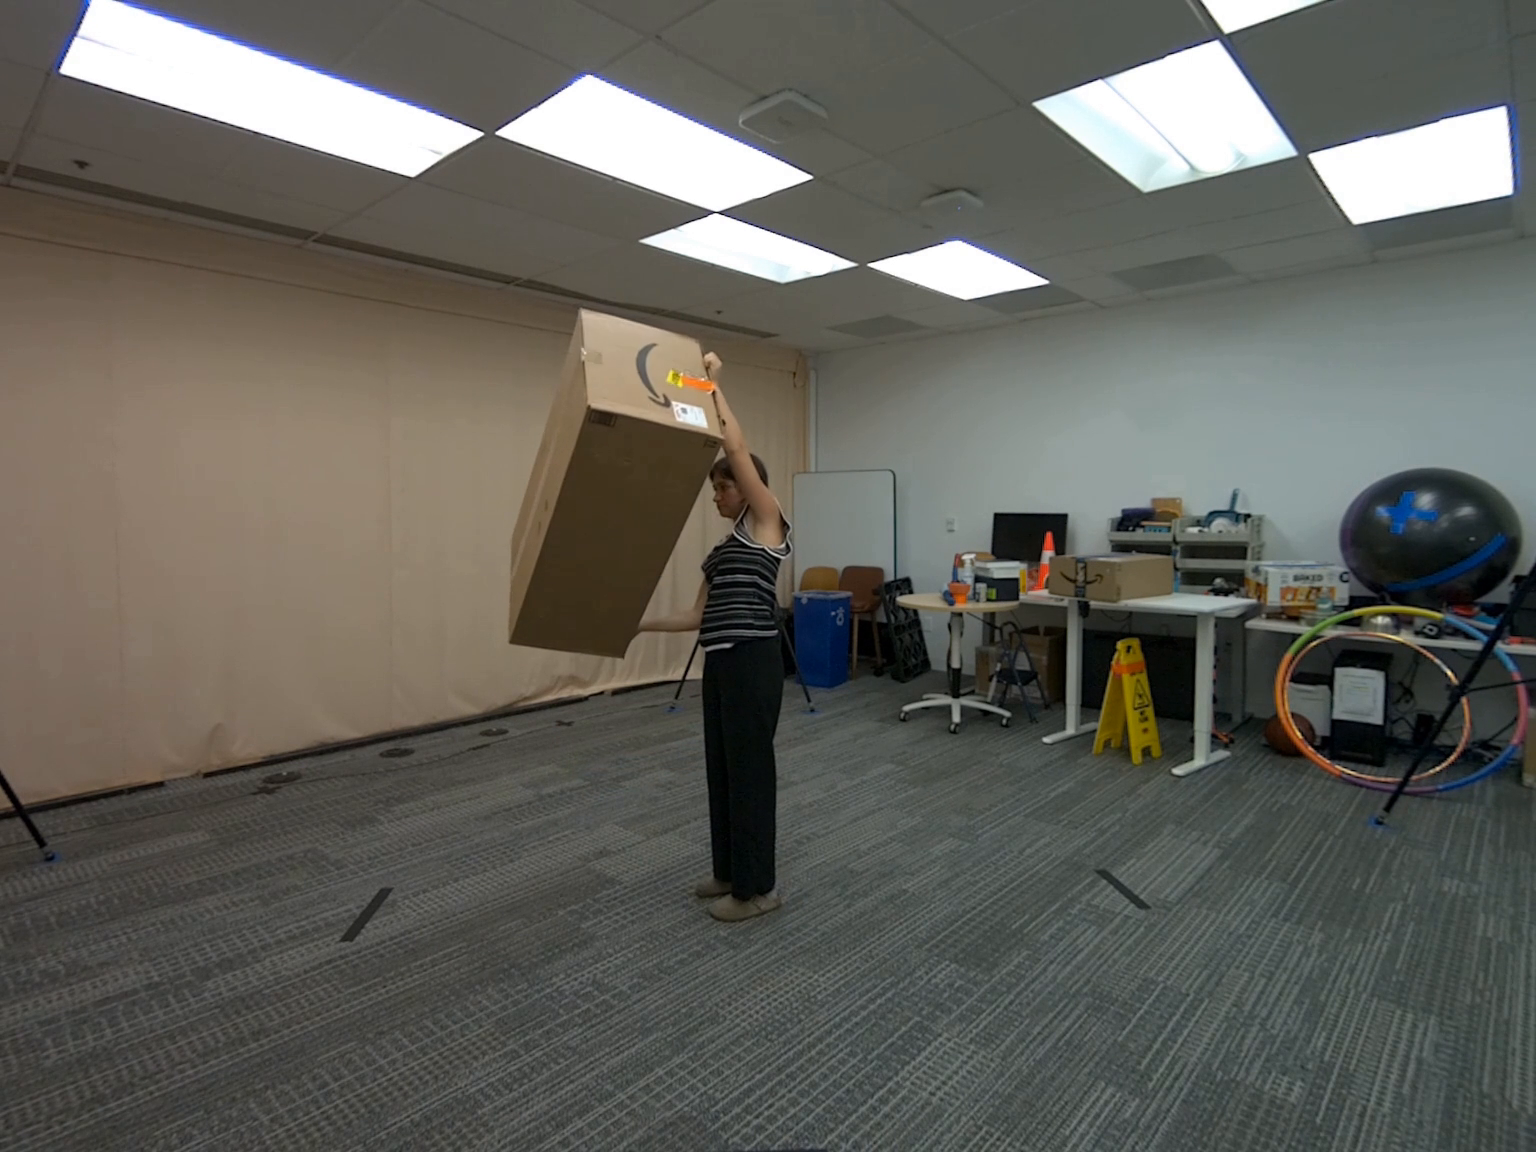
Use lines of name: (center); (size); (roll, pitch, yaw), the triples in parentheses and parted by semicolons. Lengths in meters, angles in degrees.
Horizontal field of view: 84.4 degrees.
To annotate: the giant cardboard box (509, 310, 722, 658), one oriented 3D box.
giant cardboard box: (-0.565, -0.278, 2.907); (0.416, 1.024, 0.592); (11, 41, -23)
